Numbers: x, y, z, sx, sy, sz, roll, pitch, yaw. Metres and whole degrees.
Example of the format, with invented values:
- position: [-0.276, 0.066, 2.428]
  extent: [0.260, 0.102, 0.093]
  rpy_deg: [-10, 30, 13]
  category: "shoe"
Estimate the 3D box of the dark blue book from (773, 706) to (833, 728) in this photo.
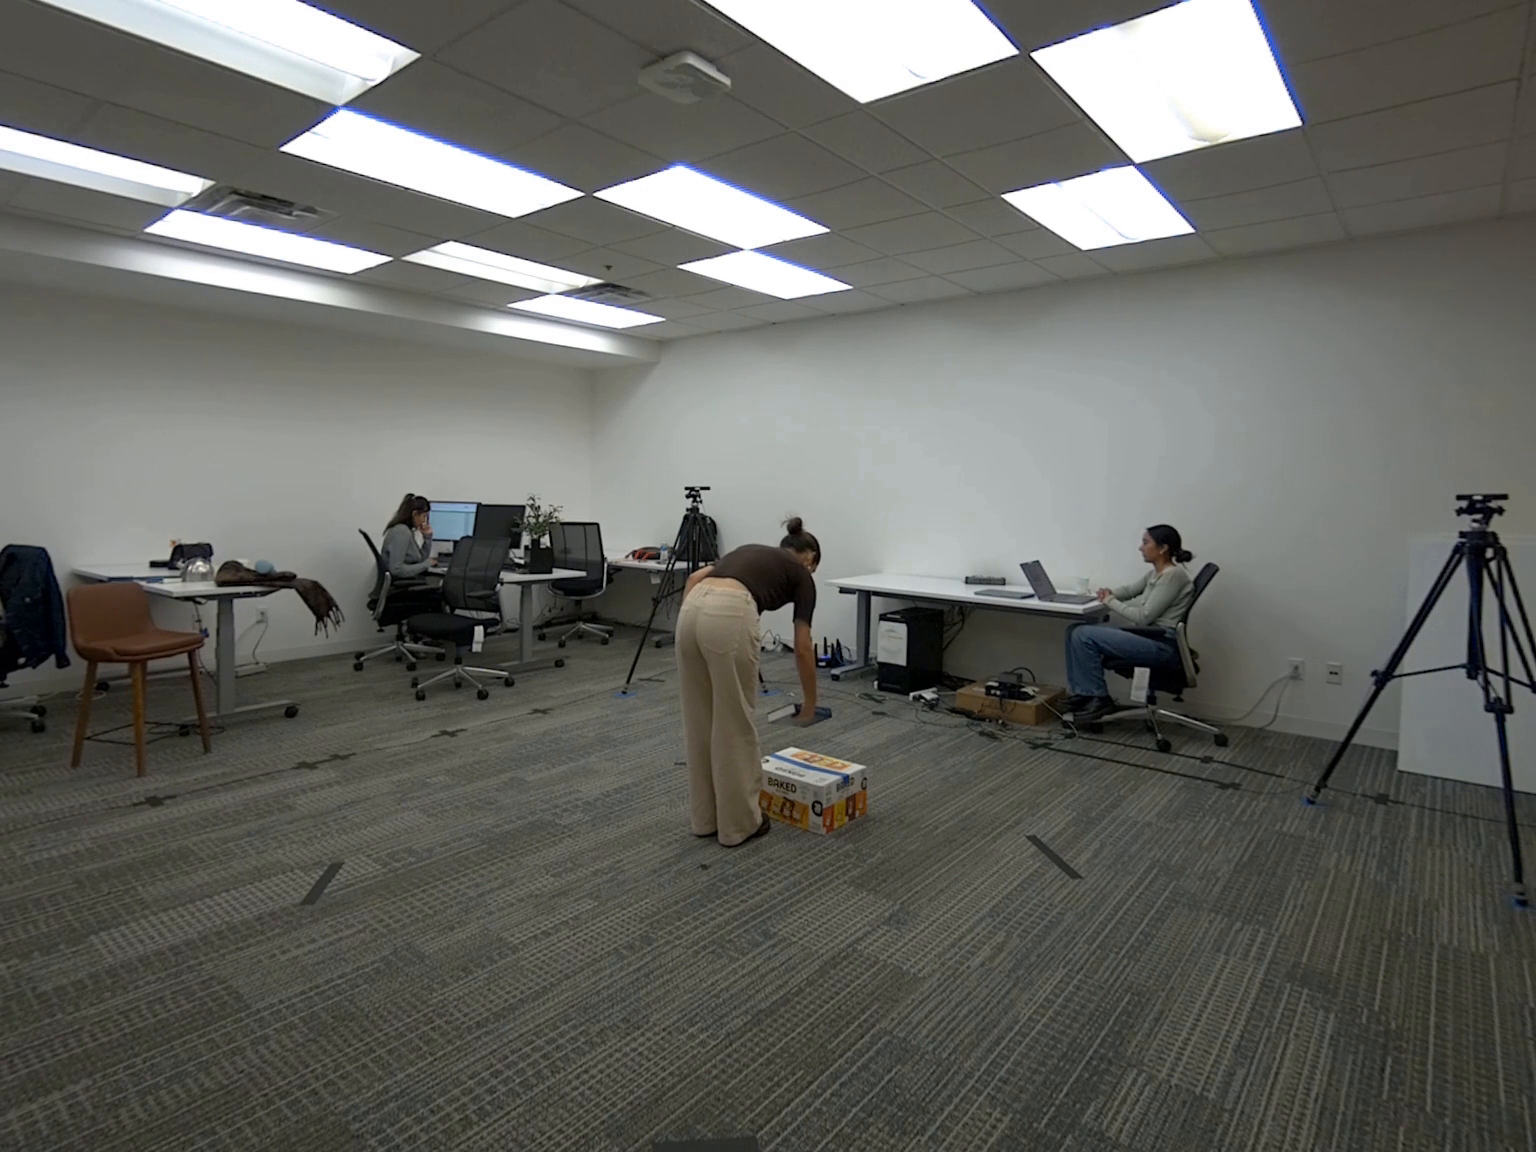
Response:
- position: [0.127, 0.596, 3.666]
  extent: [0.236, 0.046, 0.165]
  rpy_deg: [13, -32, -40]
  category: "dark blue book"
